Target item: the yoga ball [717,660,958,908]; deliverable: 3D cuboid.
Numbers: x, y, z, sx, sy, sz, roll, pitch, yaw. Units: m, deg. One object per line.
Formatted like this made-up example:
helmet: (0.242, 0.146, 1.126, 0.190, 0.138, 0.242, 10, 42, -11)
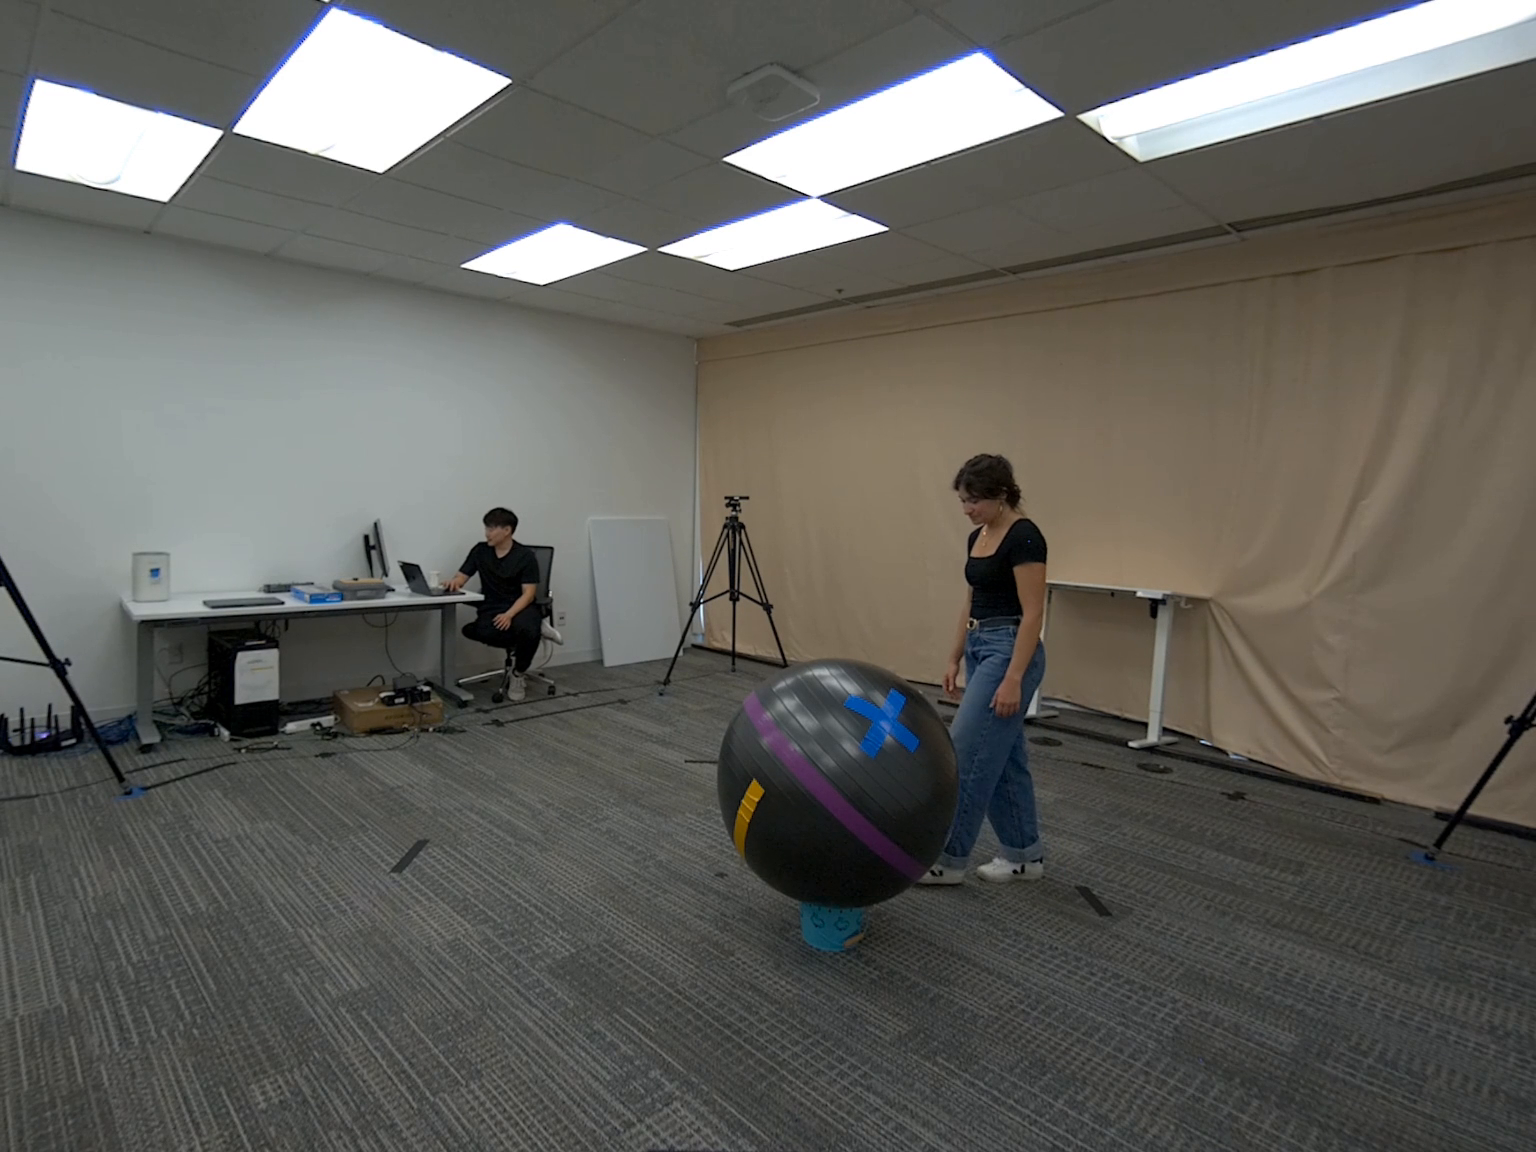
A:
yoga ball: (0.226, 0.649, 2.652, 0.757, 0.756, 0.761, 1, 4, -1)
